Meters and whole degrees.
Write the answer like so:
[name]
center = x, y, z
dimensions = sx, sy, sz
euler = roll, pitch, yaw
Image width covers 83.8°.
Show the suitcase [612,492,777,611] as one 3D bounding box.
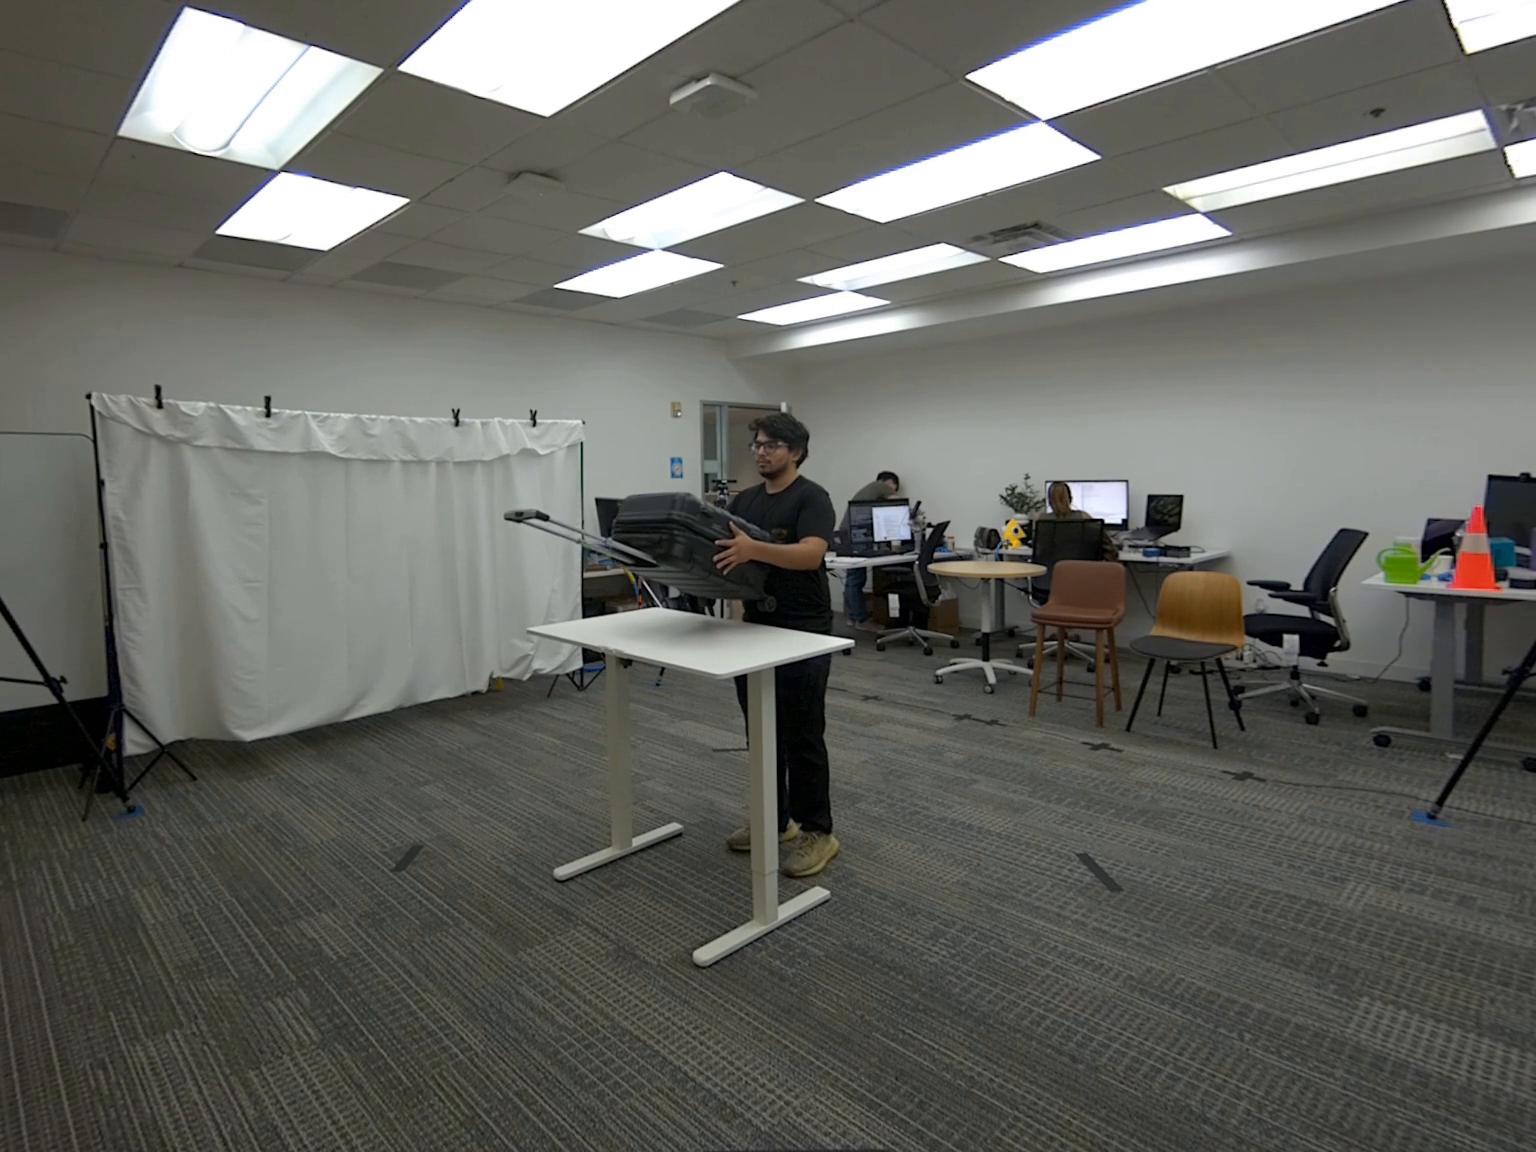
[suitcase]
center = -0.380, -0.142, 2.782
dimensions = 0.395, 0.259, 0.942
euler = 2, -17, 41
